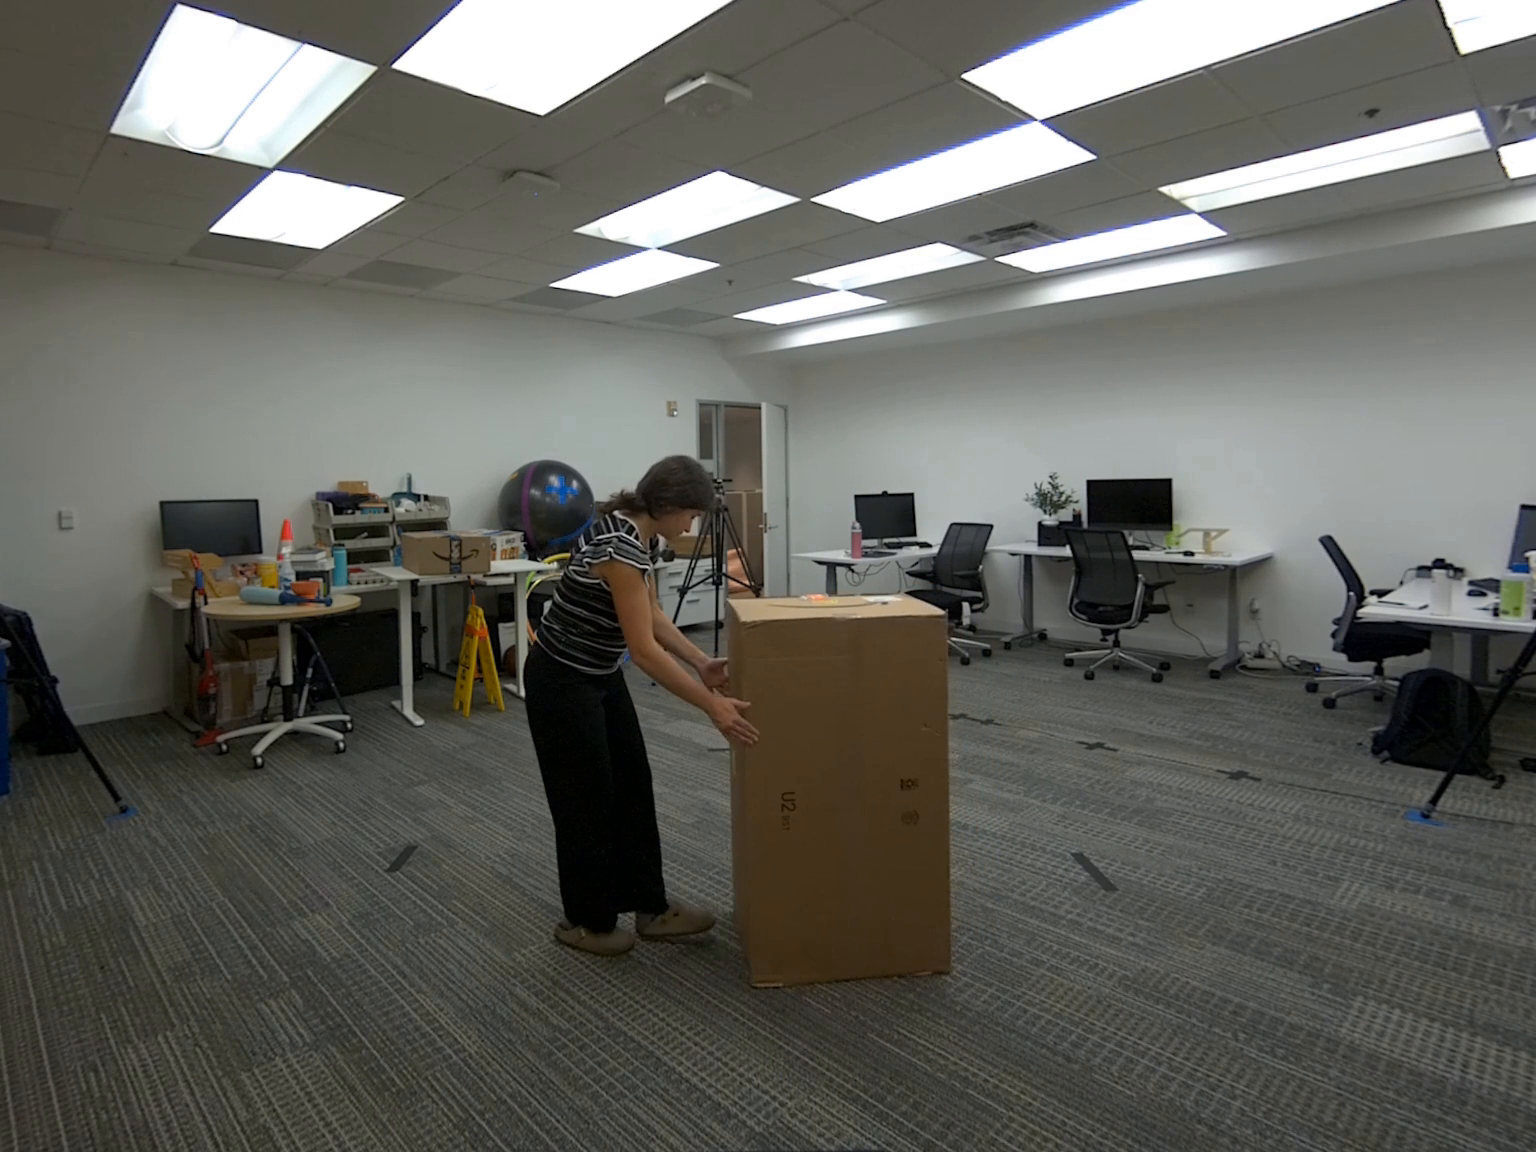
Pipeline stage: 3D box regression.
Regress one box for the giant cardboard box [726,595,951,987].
[{"bbox_3d":[0.196,0.596,2.552,0.574,1.022,0.431,-2,4,-8],"label":"giant cardboard box"}]
